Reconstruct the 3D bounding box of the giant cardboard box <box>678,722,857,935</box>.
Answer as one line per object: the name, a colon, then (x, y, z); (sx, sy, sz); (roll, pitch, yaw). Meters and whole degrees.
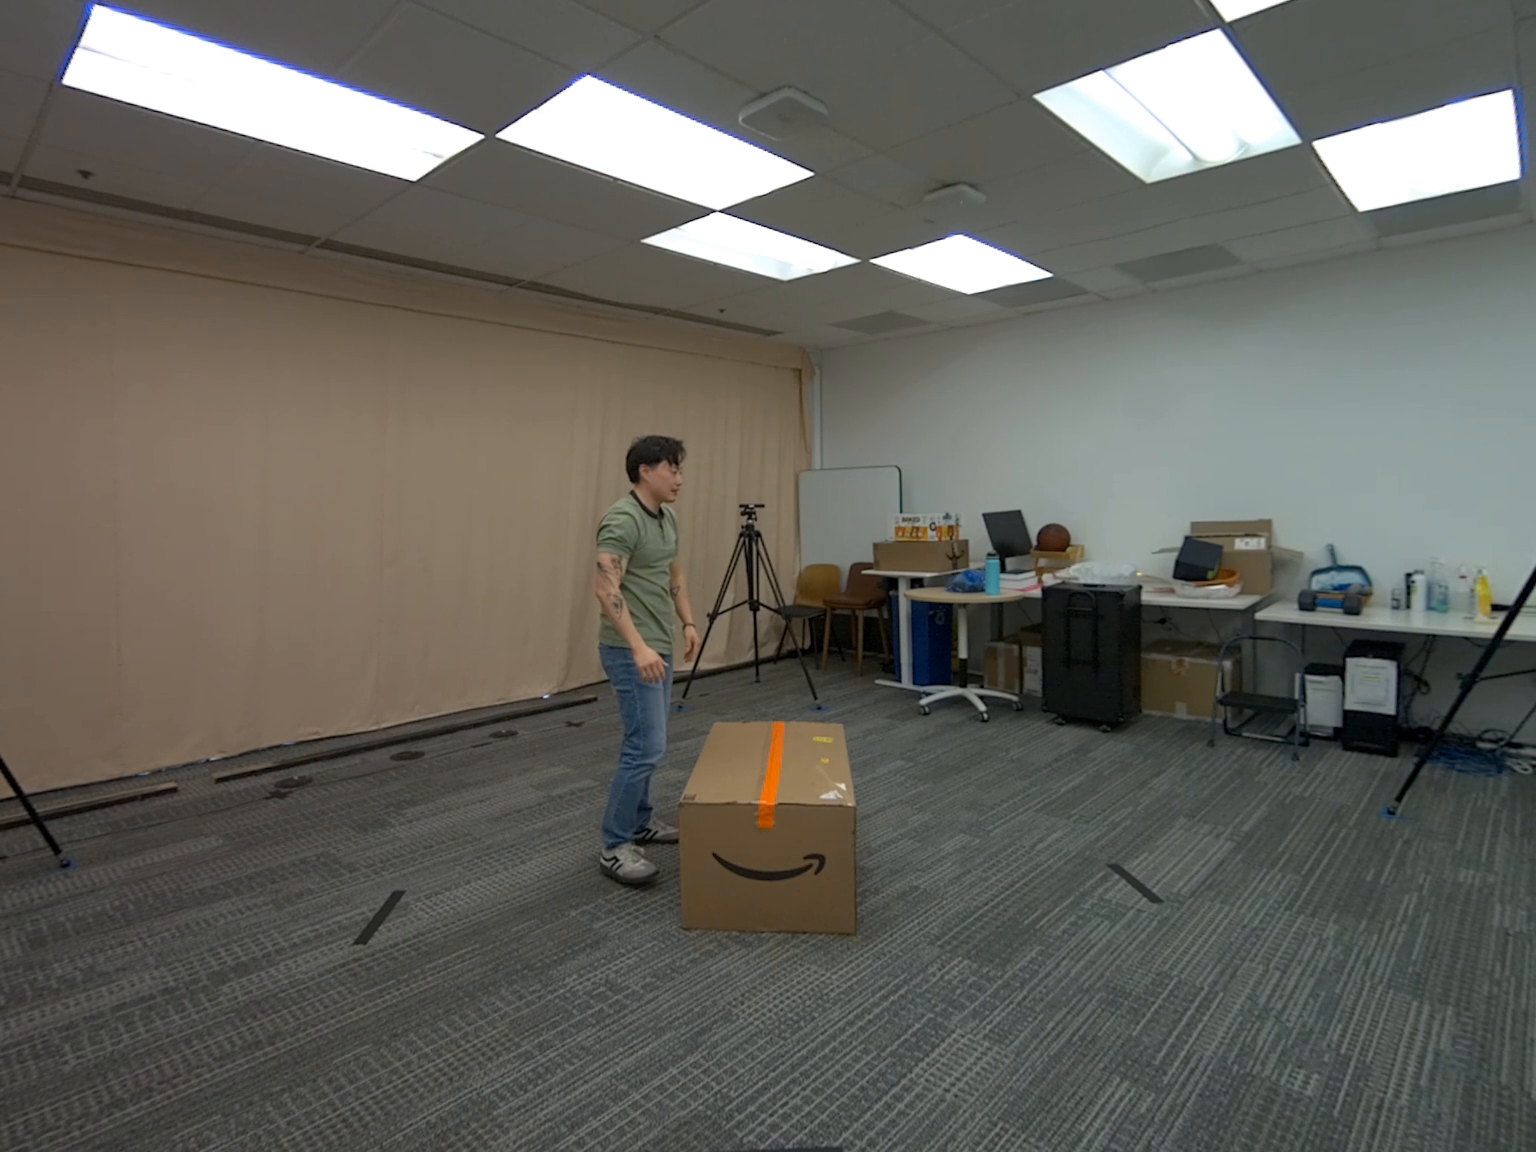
giant cardboard box: (0.024, 0.899, 3.233); (0.580, 0.425, 1.023); (0, 5, 3)
